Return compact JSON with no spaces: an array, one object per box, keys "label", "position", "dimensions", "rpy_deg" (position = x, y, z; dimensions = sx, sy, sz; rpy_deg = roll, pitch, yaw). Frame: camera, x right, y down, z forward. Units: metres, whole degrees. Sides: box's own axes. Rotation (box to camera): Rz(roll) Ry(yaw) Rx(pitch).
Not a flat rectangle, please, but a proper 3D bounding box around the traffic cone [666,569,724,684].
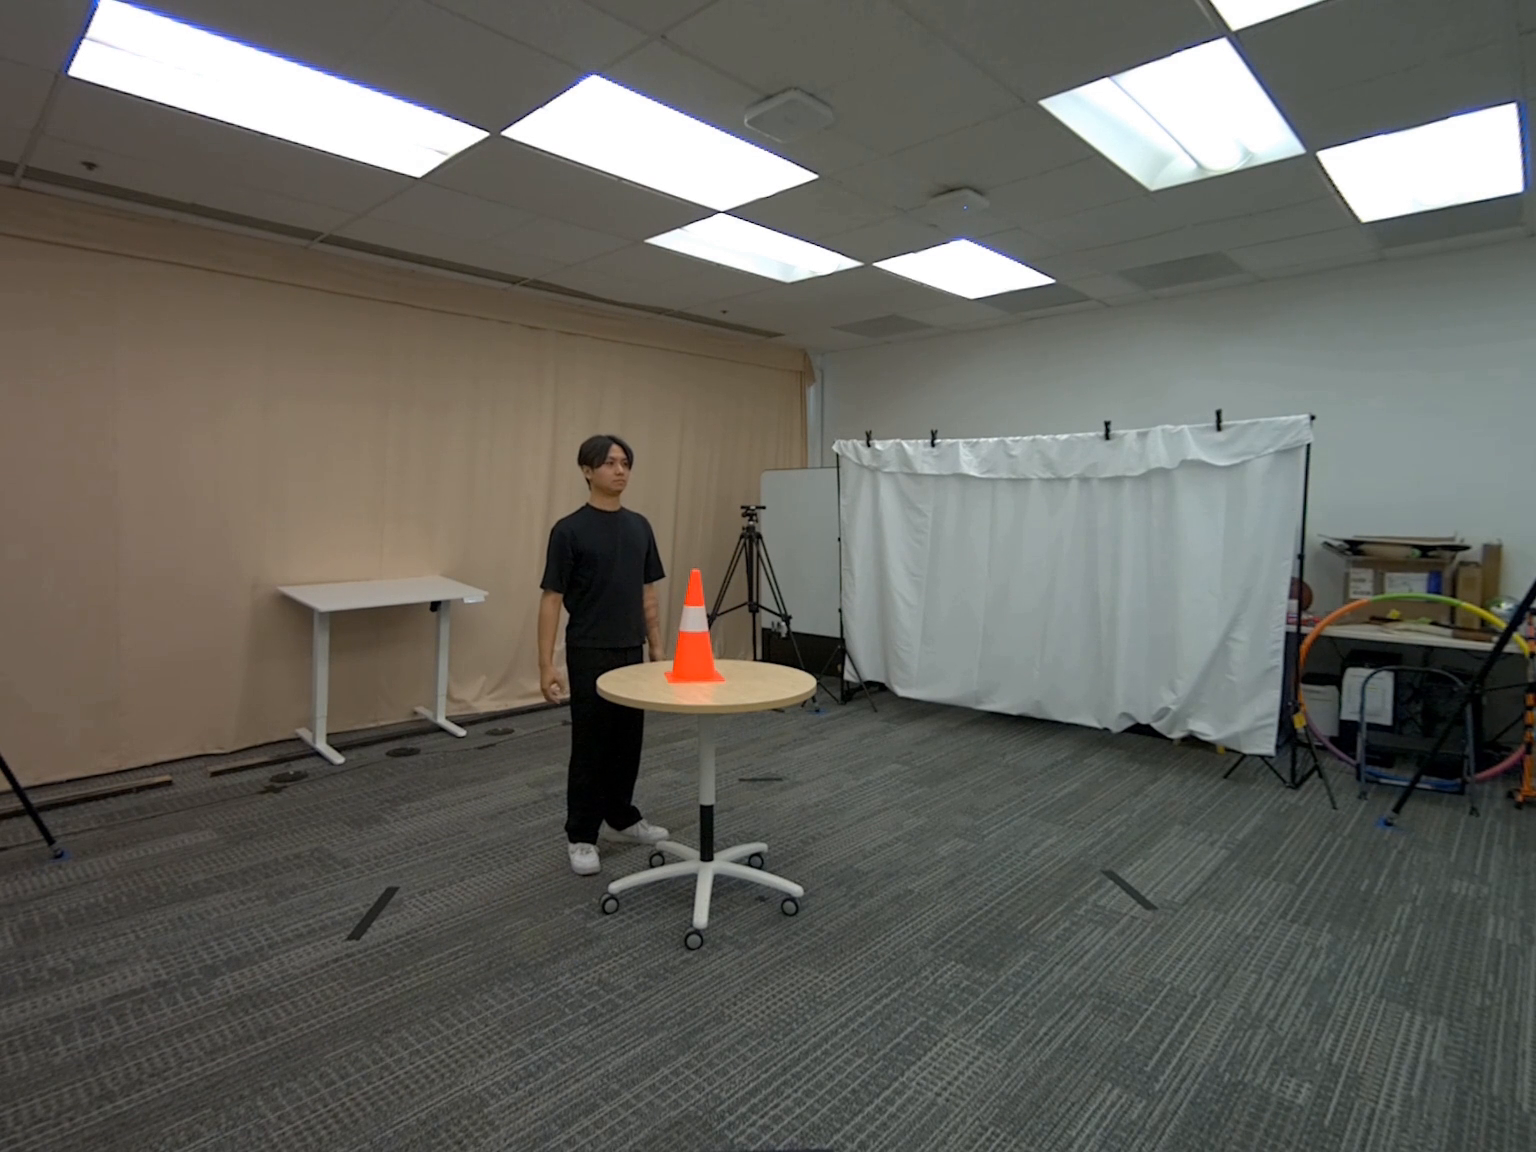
[{"label":"traffic cone","position":[-0.256,0.171,2.989],"dimensions":[0.202,0.383,0.206],"rpy_deg":[1,3,-14]}]
